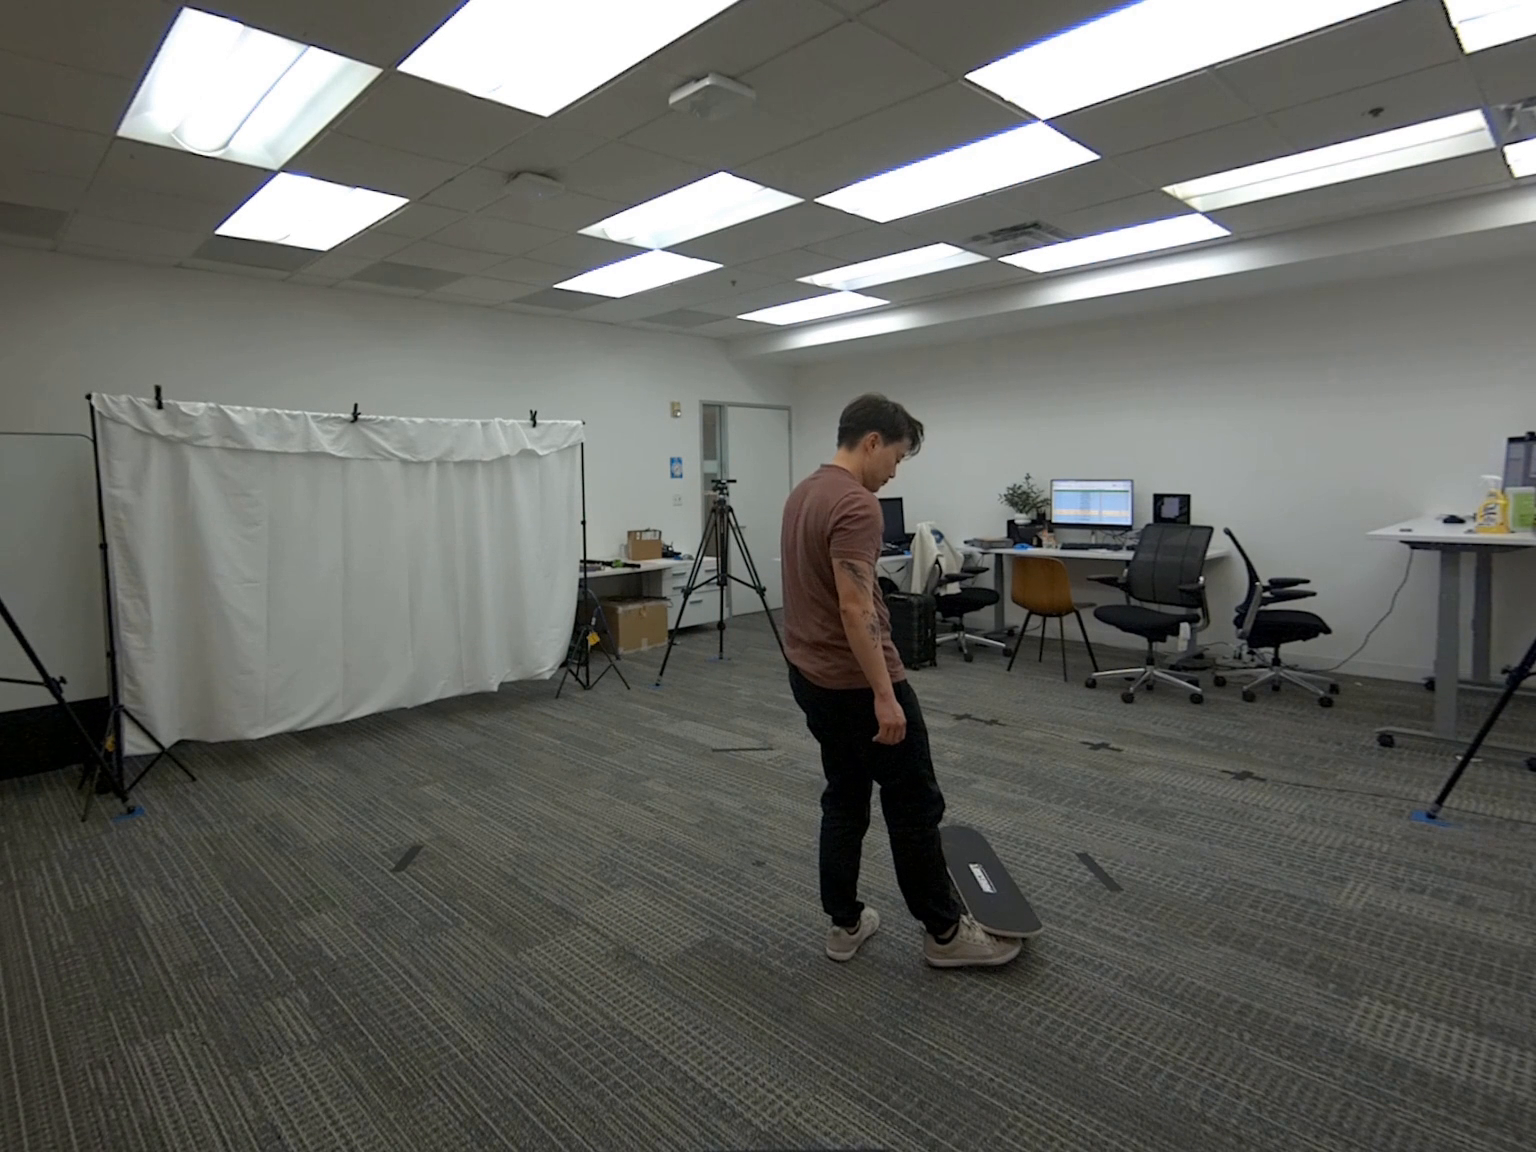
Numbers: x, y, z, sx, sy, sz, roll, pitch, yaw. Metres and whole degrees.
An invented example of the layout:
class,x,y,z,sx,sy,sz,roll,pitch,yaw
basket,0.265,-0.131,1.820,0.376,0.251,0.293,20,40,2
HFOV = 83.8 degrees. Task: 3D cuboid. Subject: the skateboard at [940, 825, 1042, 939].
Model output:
class,x,y,z,sx,sy,sz,roll,pitch,yaw
skateboard,0.700,1.012,2.771,0.193,0.110,0.788,-3,6,-1
